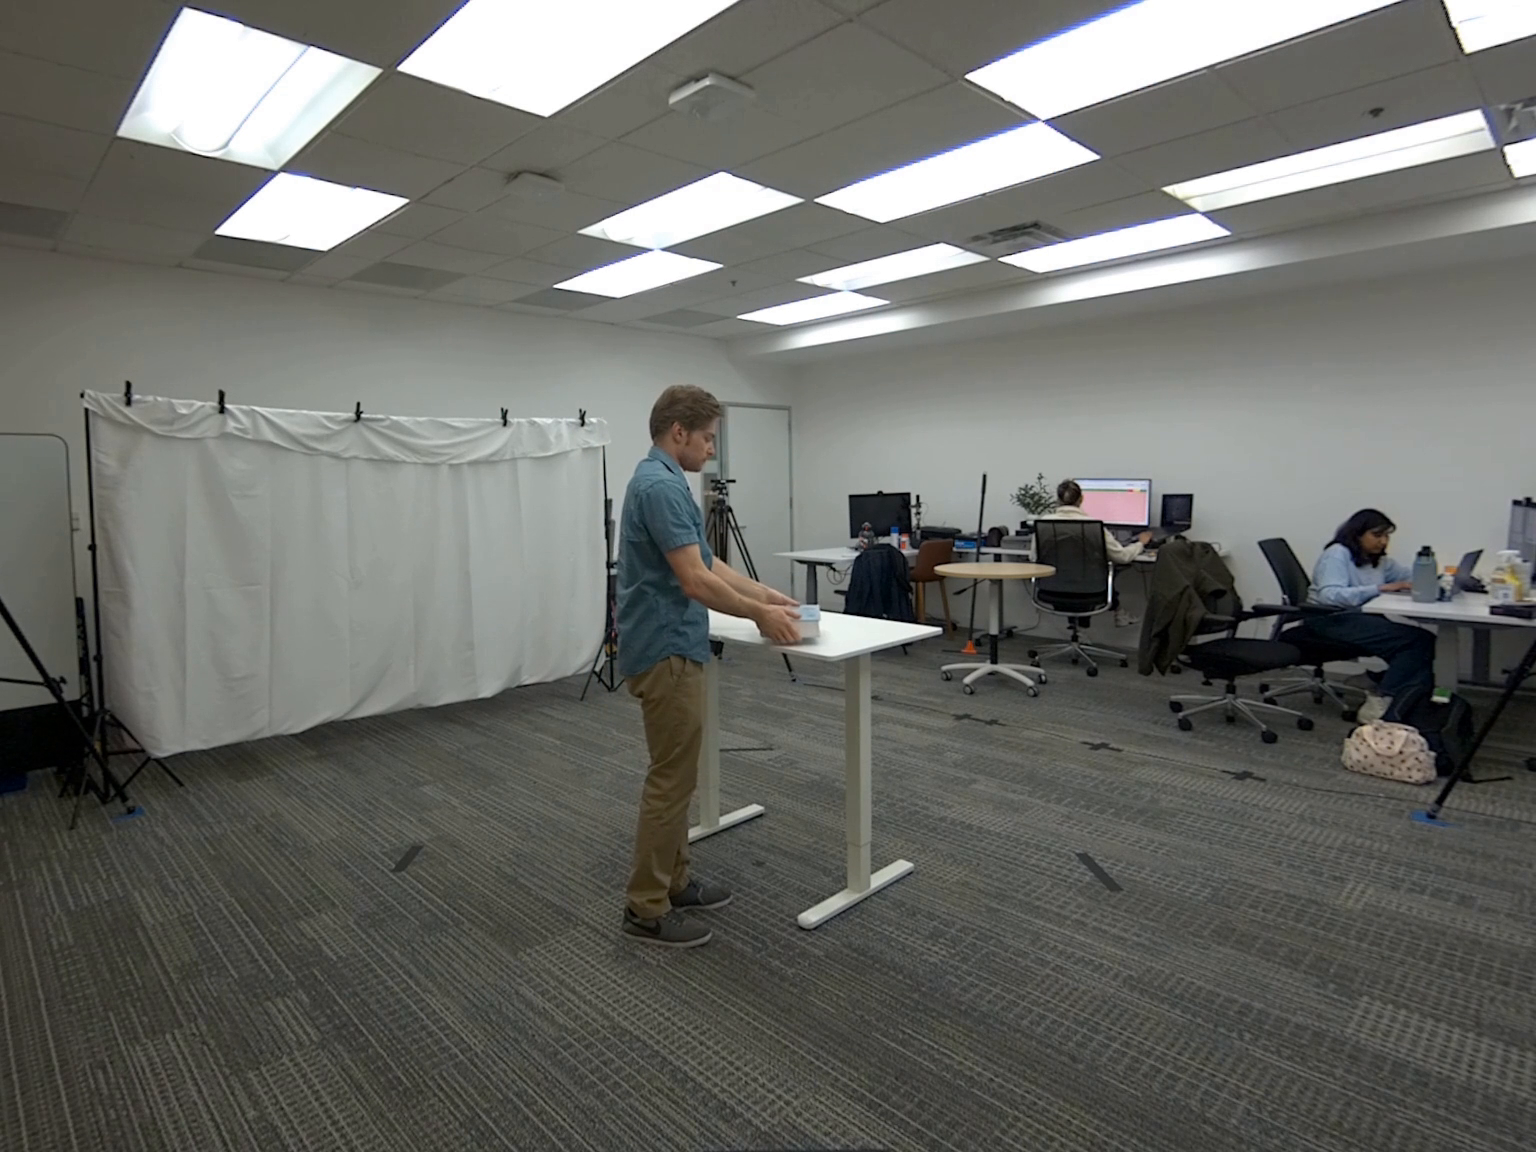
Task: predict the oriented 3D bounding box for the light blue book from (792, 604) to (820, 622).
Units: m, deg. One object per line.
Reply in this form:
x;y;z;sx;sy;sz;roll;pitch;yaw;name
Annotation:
0.061;0.149;2.773;0.192;0.059;0.261;-1;7;2;light blue book
